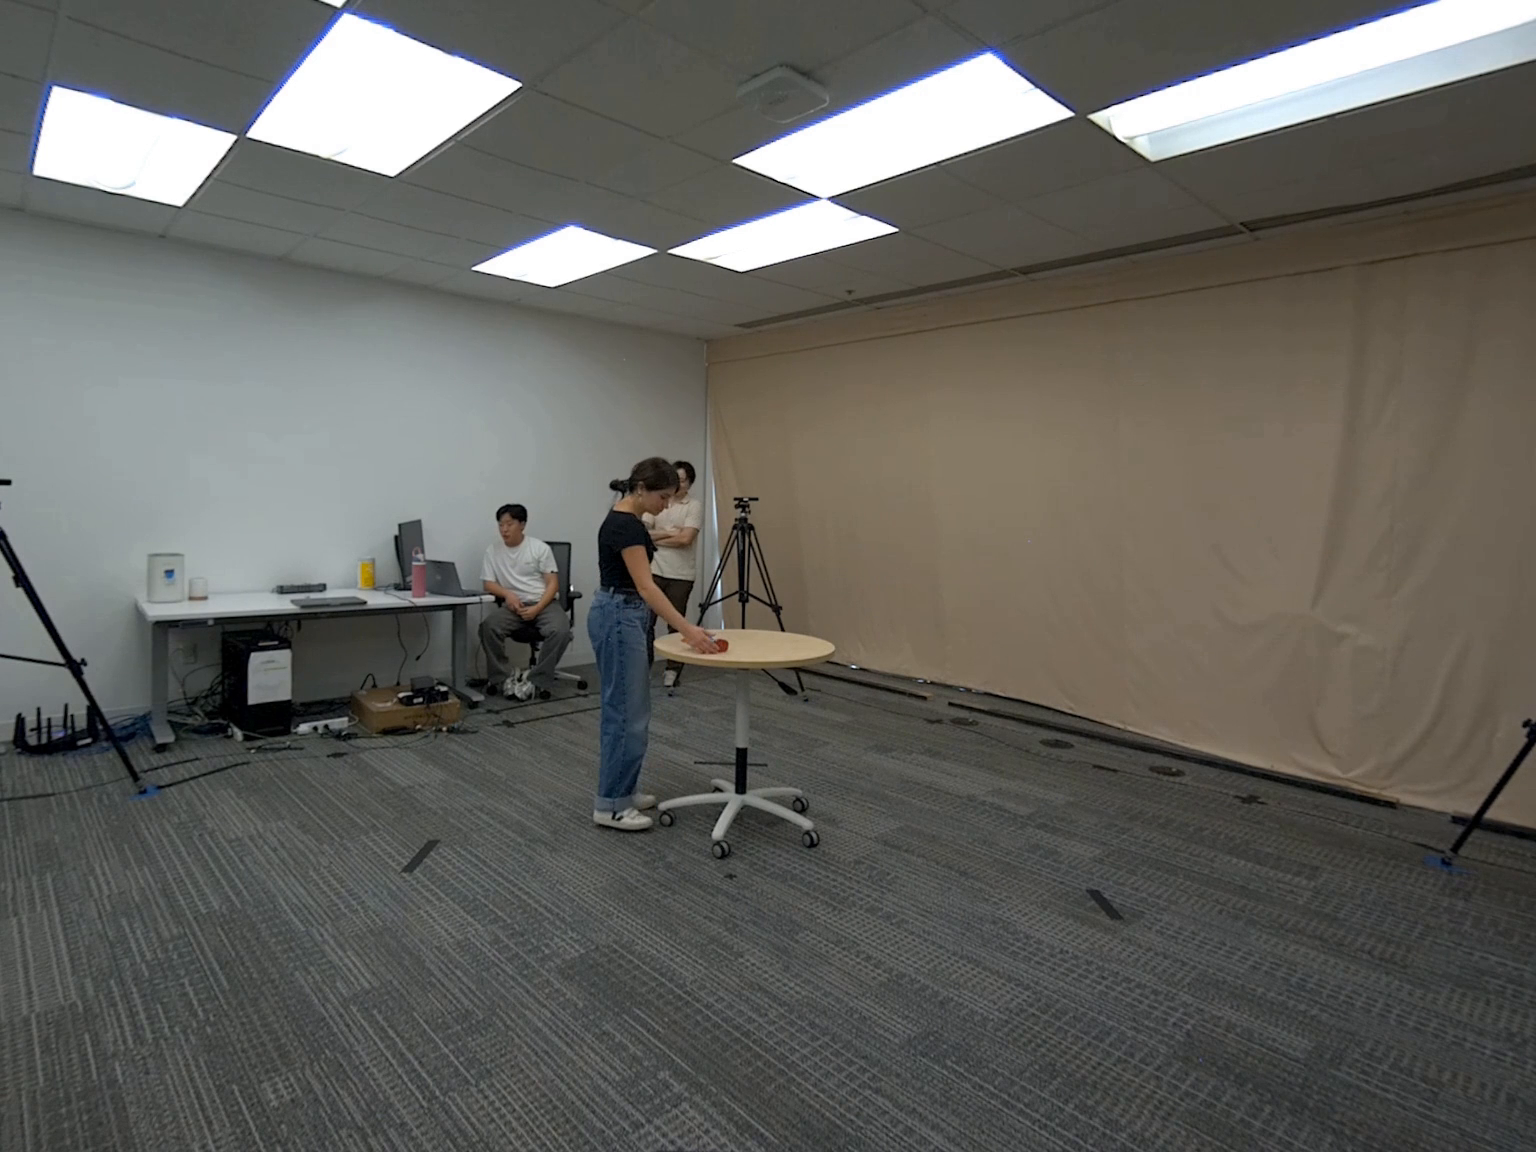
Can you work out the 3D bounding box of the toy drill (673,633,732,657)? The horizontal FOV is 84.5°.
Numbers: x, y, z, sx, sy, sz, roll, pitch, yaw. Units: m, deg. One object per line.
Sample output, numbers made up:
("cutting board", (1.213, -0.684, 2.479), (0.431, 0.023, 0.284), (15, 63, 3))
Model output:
("toy drill", (-0.264, 0.273, 3.378), (0.165, 0.061, 0.150), (9, -1, -42))
